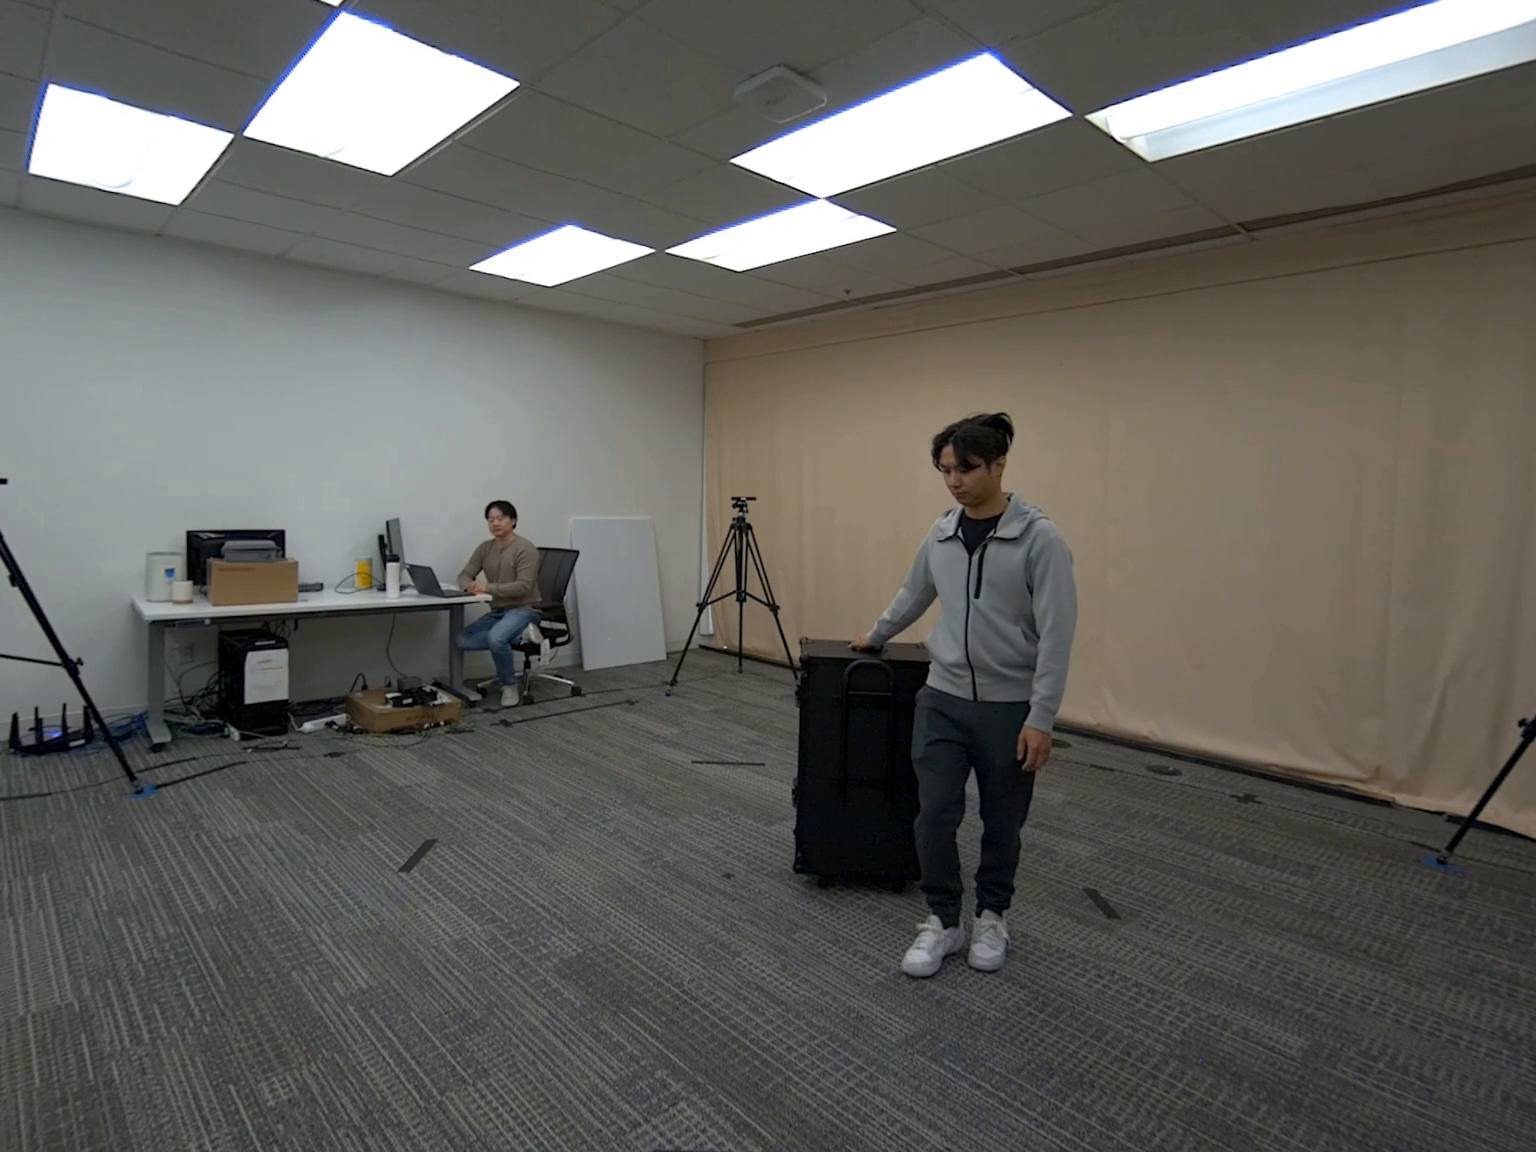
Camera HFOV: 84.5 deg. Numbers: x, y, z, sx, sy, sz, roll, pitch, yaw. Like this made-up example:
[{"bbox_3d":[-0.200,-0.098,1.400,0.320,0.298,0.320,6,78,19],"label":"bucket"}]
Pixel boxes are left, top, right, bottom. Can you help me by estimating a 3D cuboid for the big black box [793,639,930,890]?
[{"bbox_3d":[0.347,0.694,3.101,0.523,0.859,0.396,2,4,4],"label":"big black box"}]
